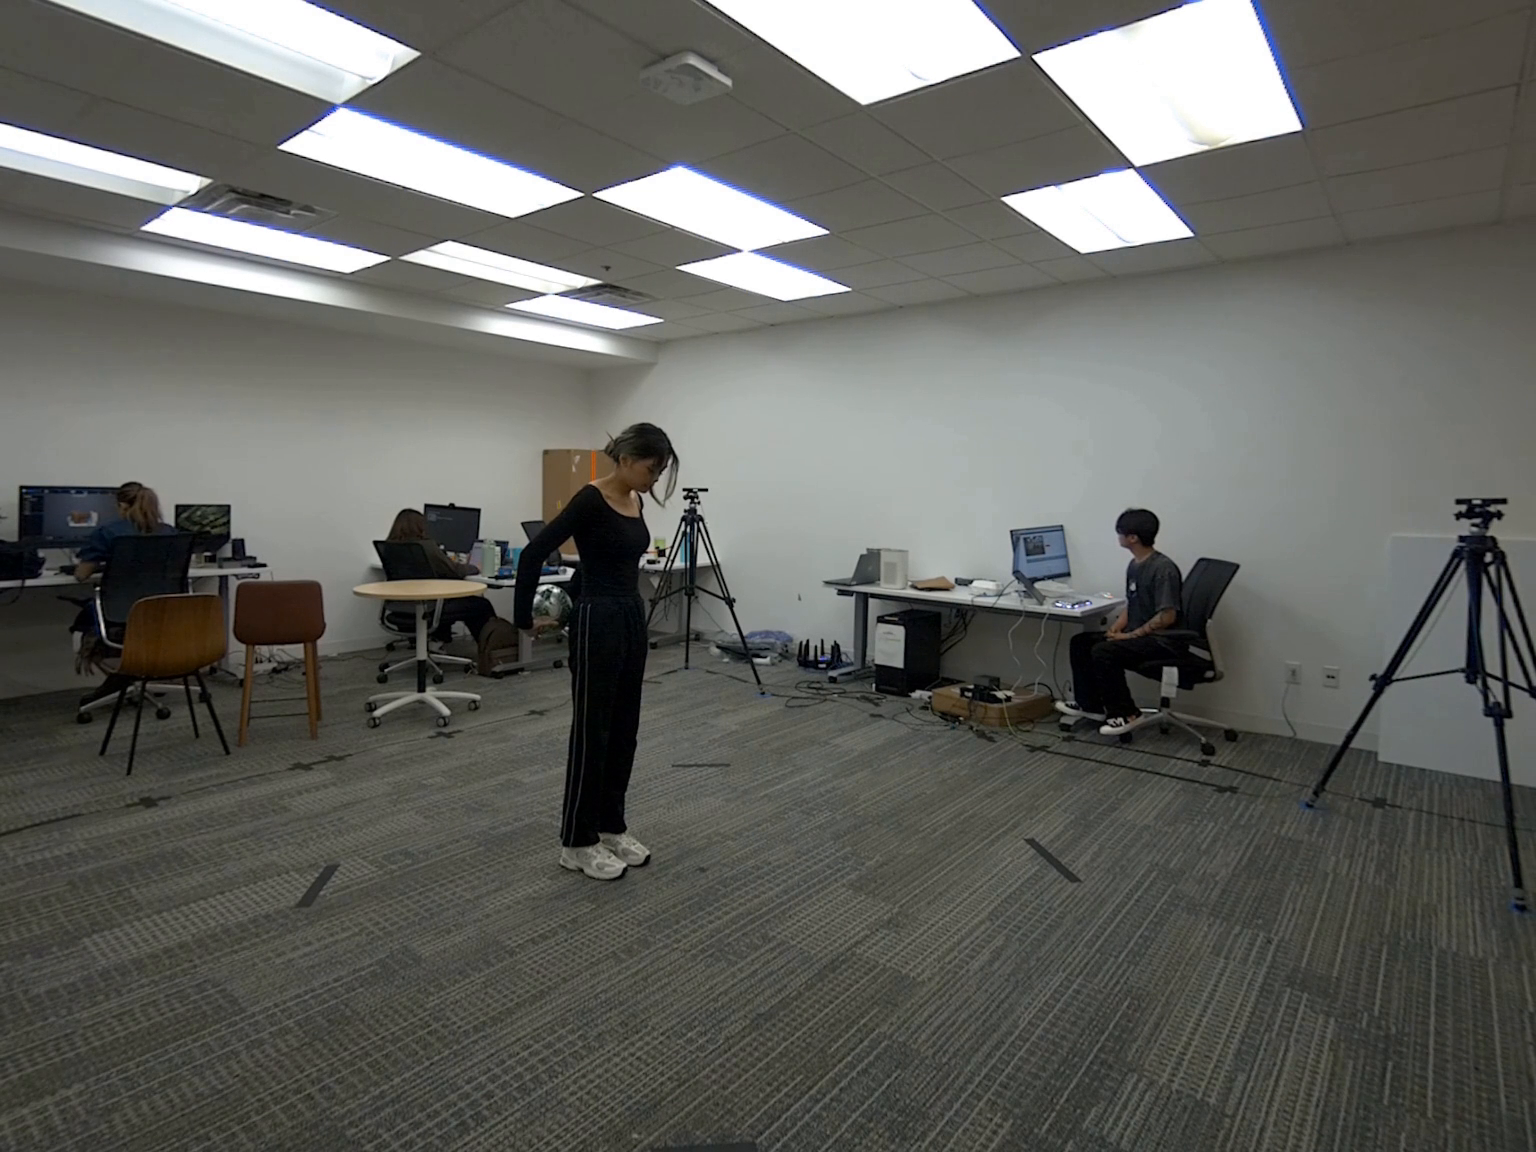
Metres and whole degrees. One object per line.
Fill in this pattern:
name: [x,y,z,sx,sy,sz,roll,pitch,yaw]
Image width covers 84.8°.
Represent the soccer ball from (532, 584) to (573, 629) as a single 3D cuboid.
soccer ball: [-0.815,0.121,3.118,0.187,0.187,0.188,1,4,-2]
